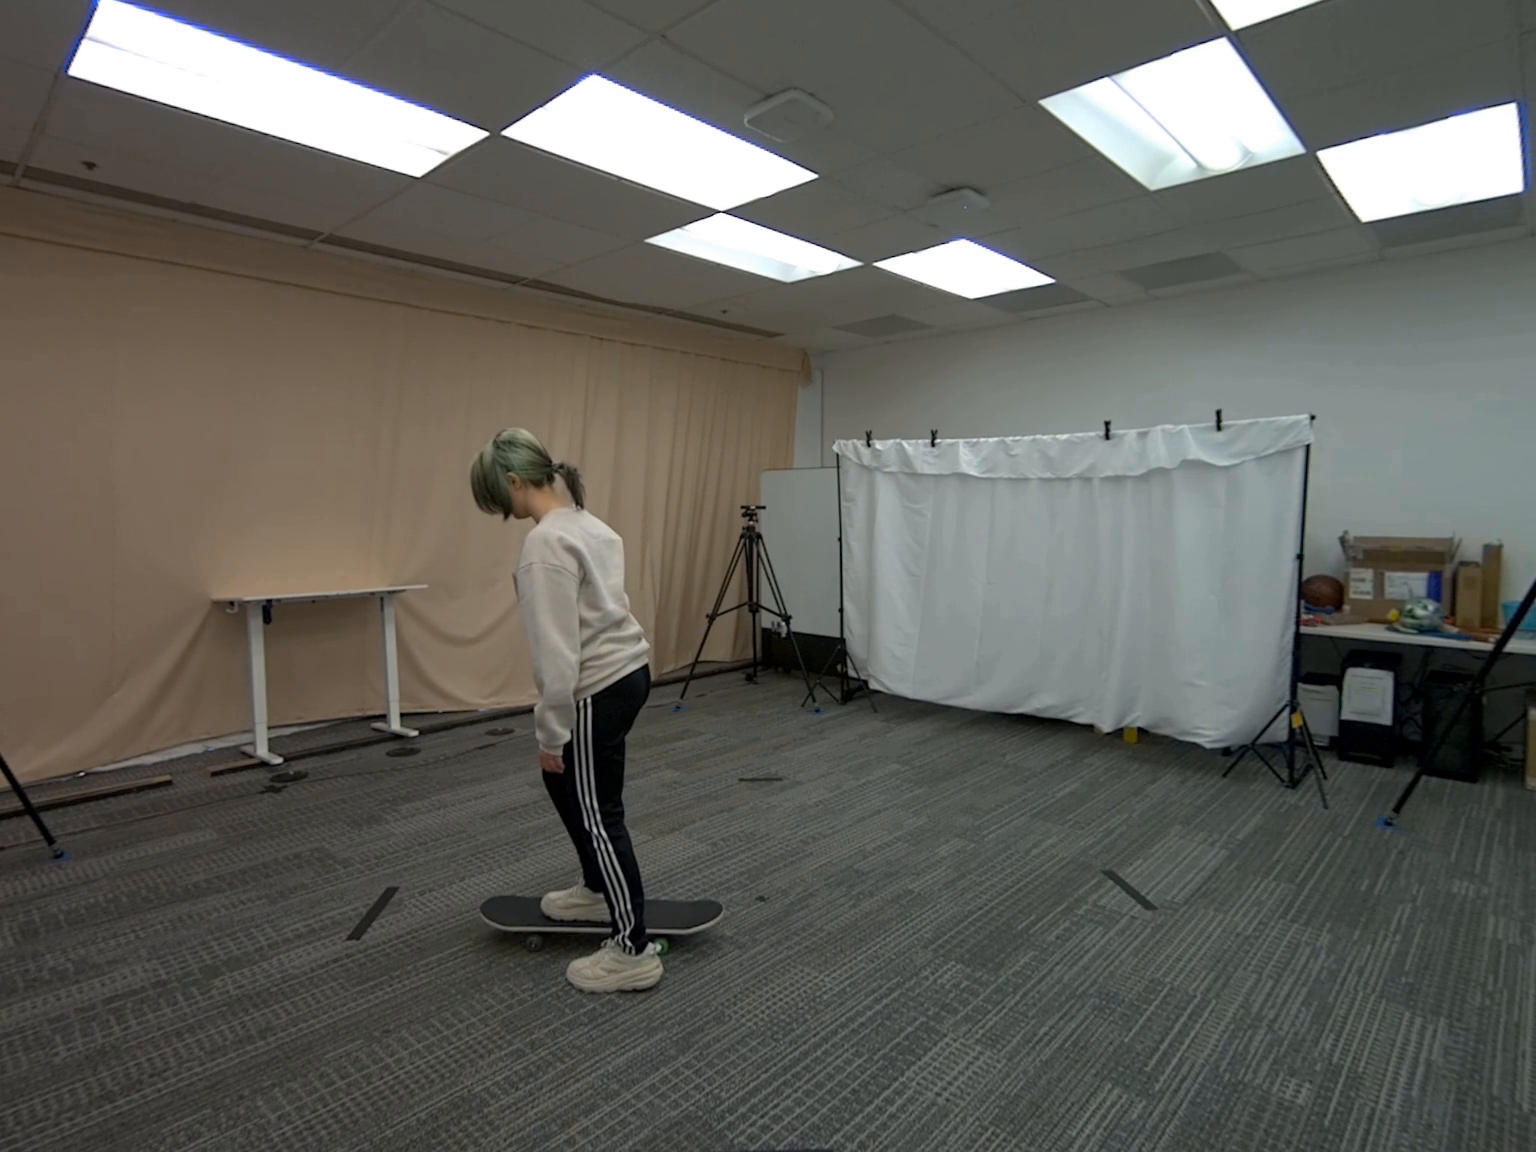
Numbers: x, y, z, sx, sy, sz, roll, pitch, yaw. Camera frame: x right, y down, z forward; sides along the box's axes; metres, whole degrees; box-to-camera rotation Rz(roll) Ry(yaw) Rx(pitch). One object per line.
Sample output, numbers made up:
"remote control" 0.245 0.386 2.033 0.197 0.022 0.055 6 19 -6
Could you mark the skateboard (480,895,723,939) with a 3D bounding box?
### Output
"skateboard" -0.534 1.116 2.702 0.788 0.110 0.193 0 6 3
